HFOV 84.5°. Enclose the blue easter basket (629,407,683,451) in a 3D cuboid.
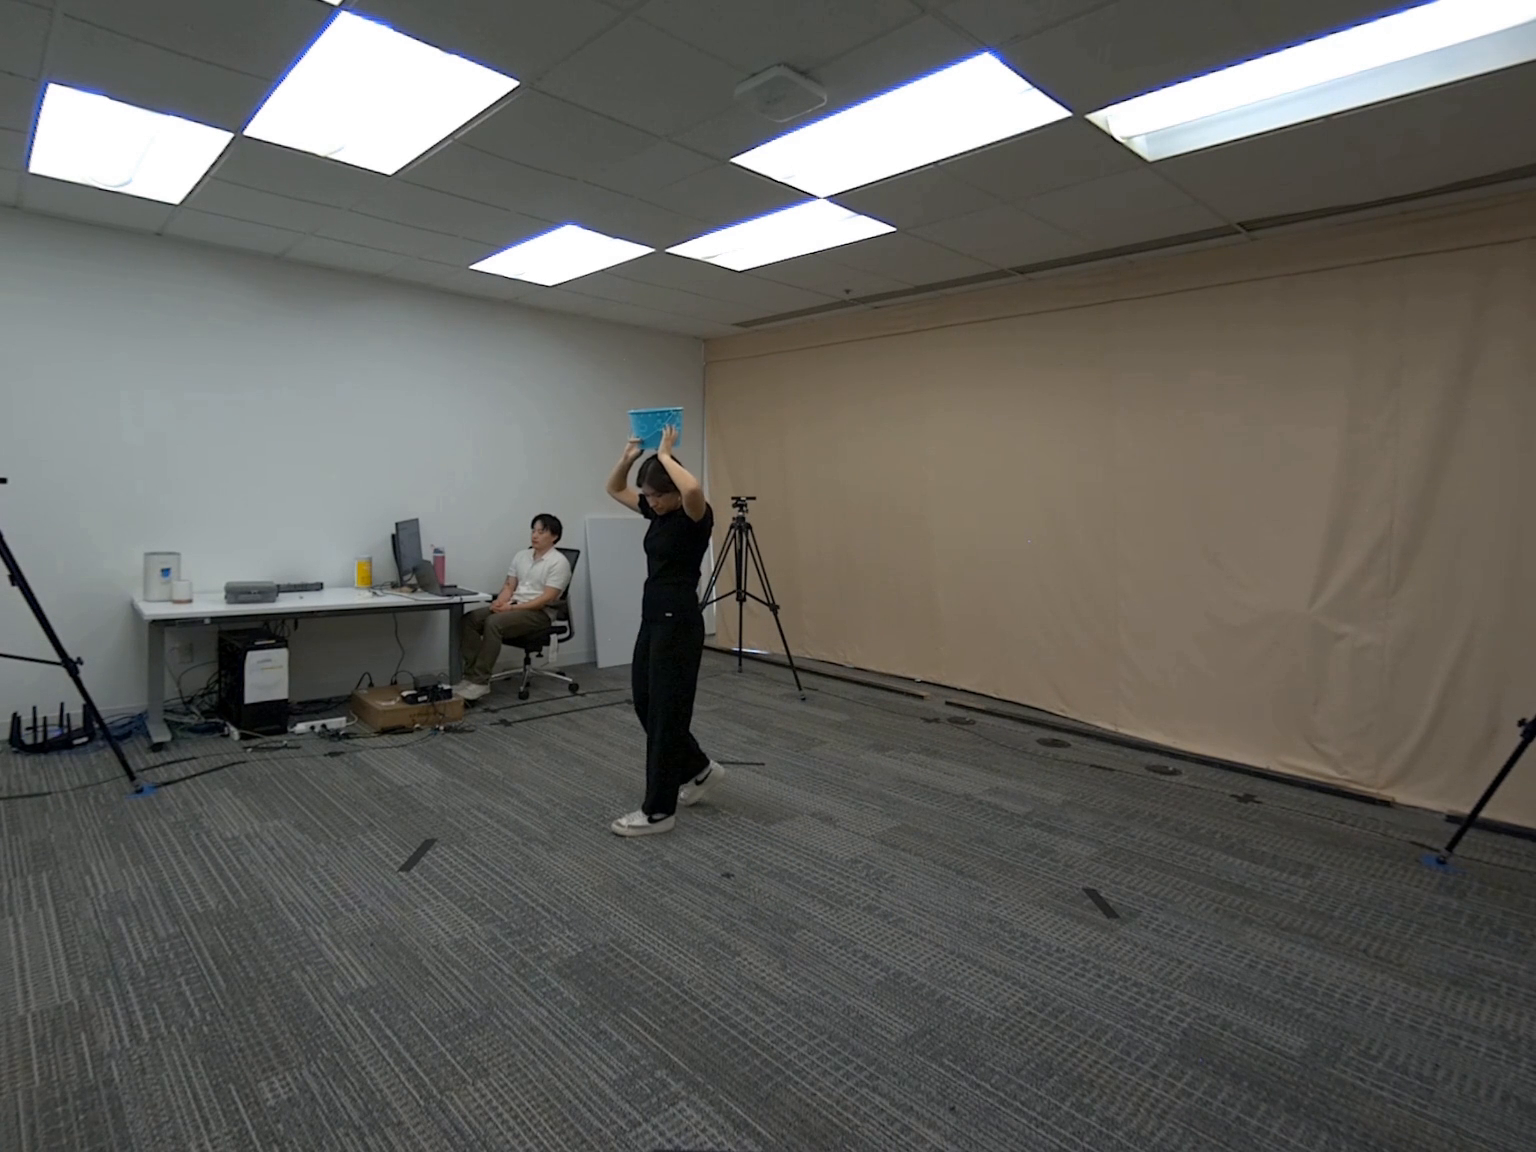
[{"bbox_3d":[-0.475,-0.608,3.452,0.243,0.154,0.246,-3,14,-1],"label":"blue easter basket"}]
